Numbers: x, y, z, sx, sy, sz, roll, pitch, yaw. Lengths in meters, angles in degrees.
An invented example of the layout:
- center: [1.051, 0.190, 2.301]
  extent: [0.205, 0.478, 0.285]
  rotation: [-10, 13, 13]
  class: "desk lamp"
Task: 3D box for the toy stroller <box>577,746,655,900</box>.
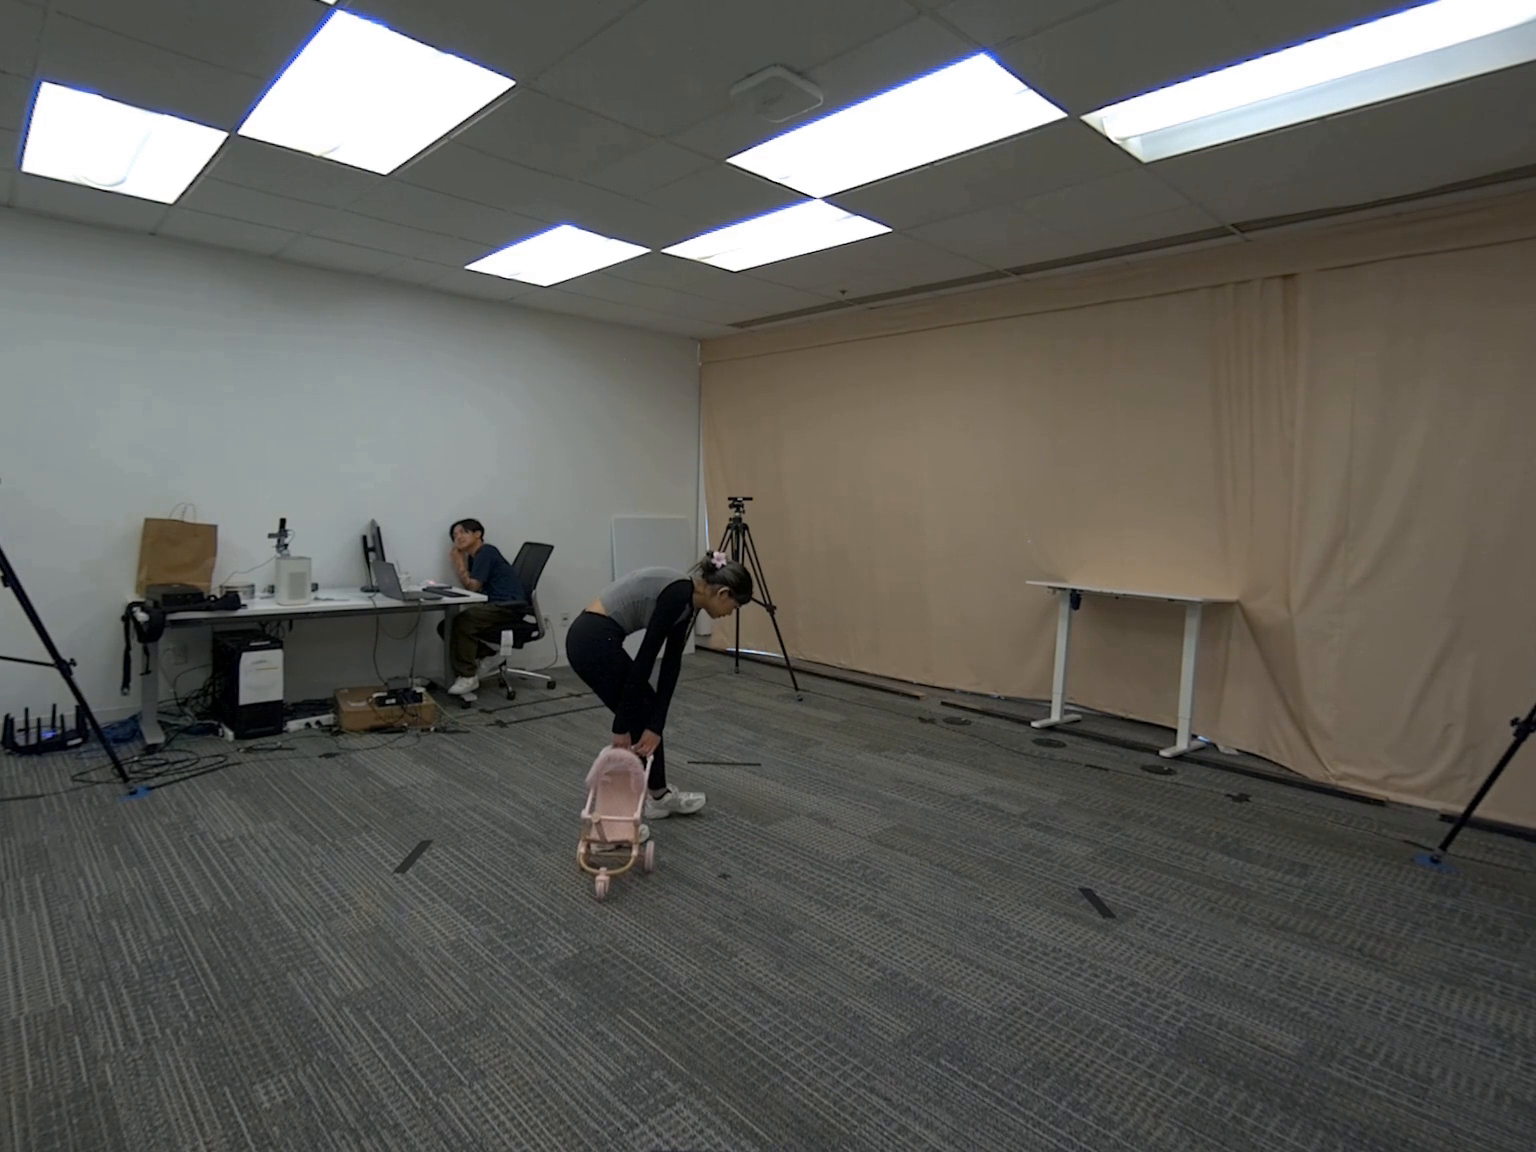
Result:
- center: [-0.575, 0.879, 3.073]
  extent: [0.283, 0.540, 0.336]
  rotation: [1, -14, 6]
  class: "toy stroller"
